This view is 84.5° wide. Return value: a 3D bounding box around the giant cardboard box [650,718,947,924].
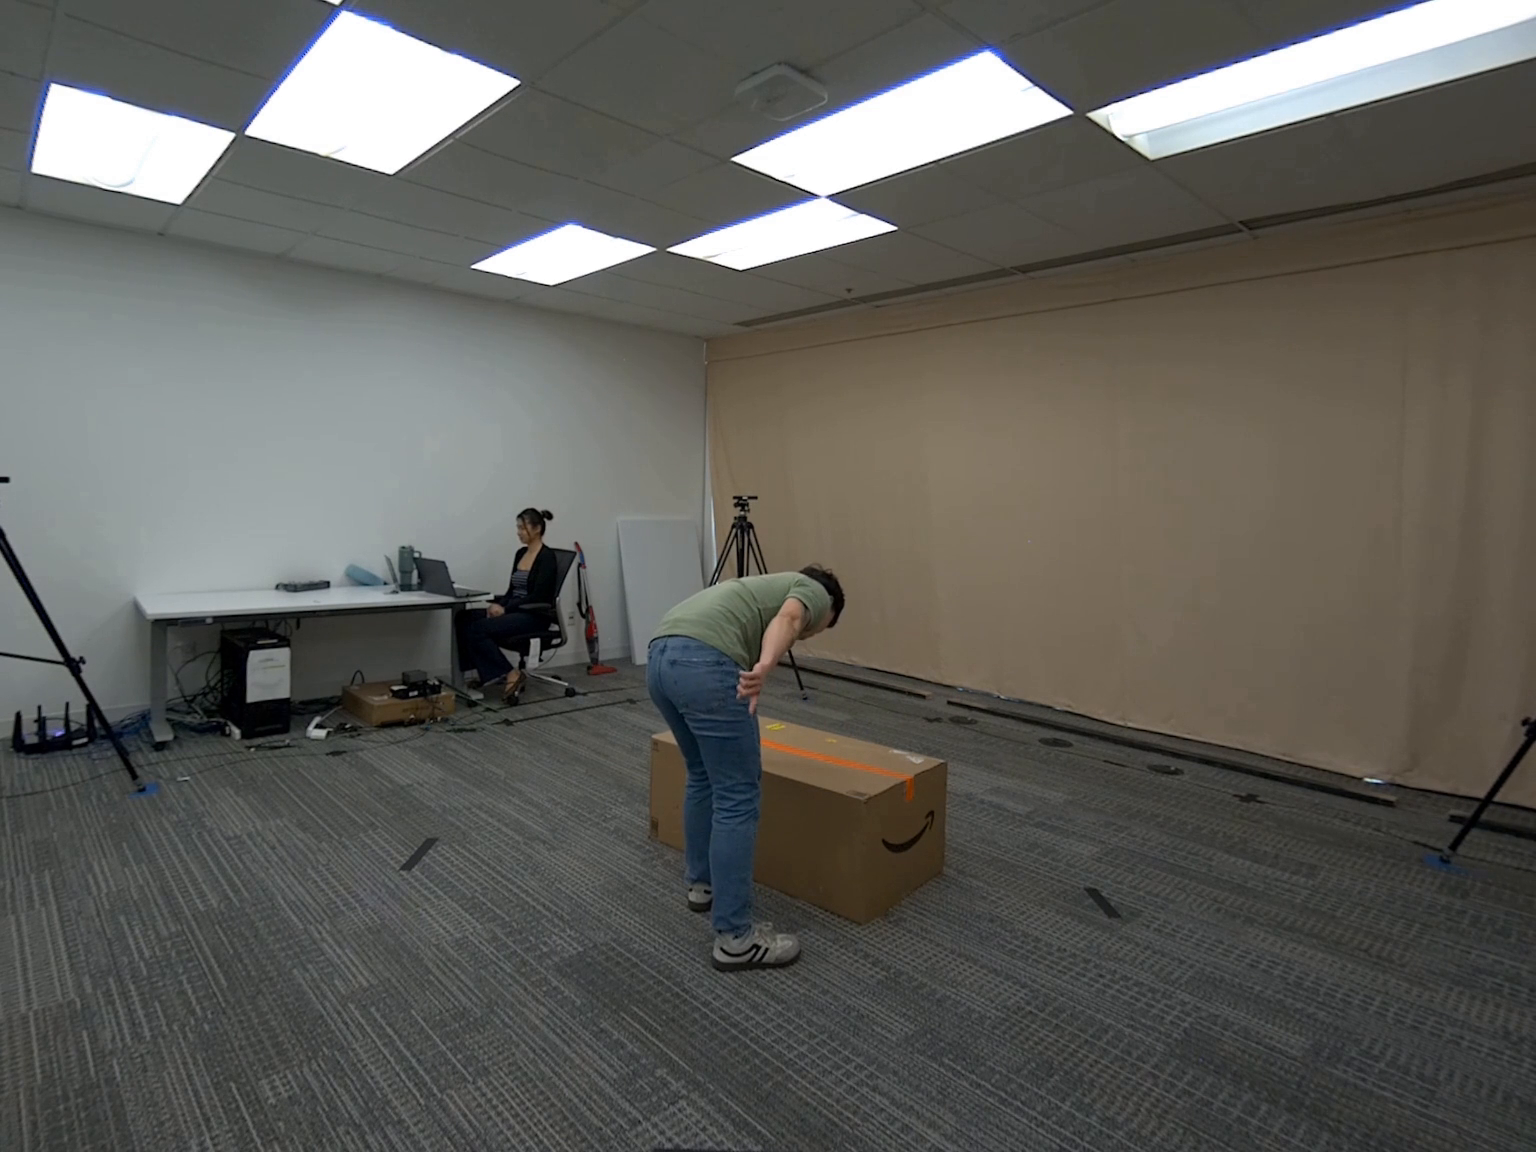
[{"bbox_3d":[0.089,0.881,3.289,1.052,0.425,0.564,5,5,40],"label":"giant cardboard box"}]
